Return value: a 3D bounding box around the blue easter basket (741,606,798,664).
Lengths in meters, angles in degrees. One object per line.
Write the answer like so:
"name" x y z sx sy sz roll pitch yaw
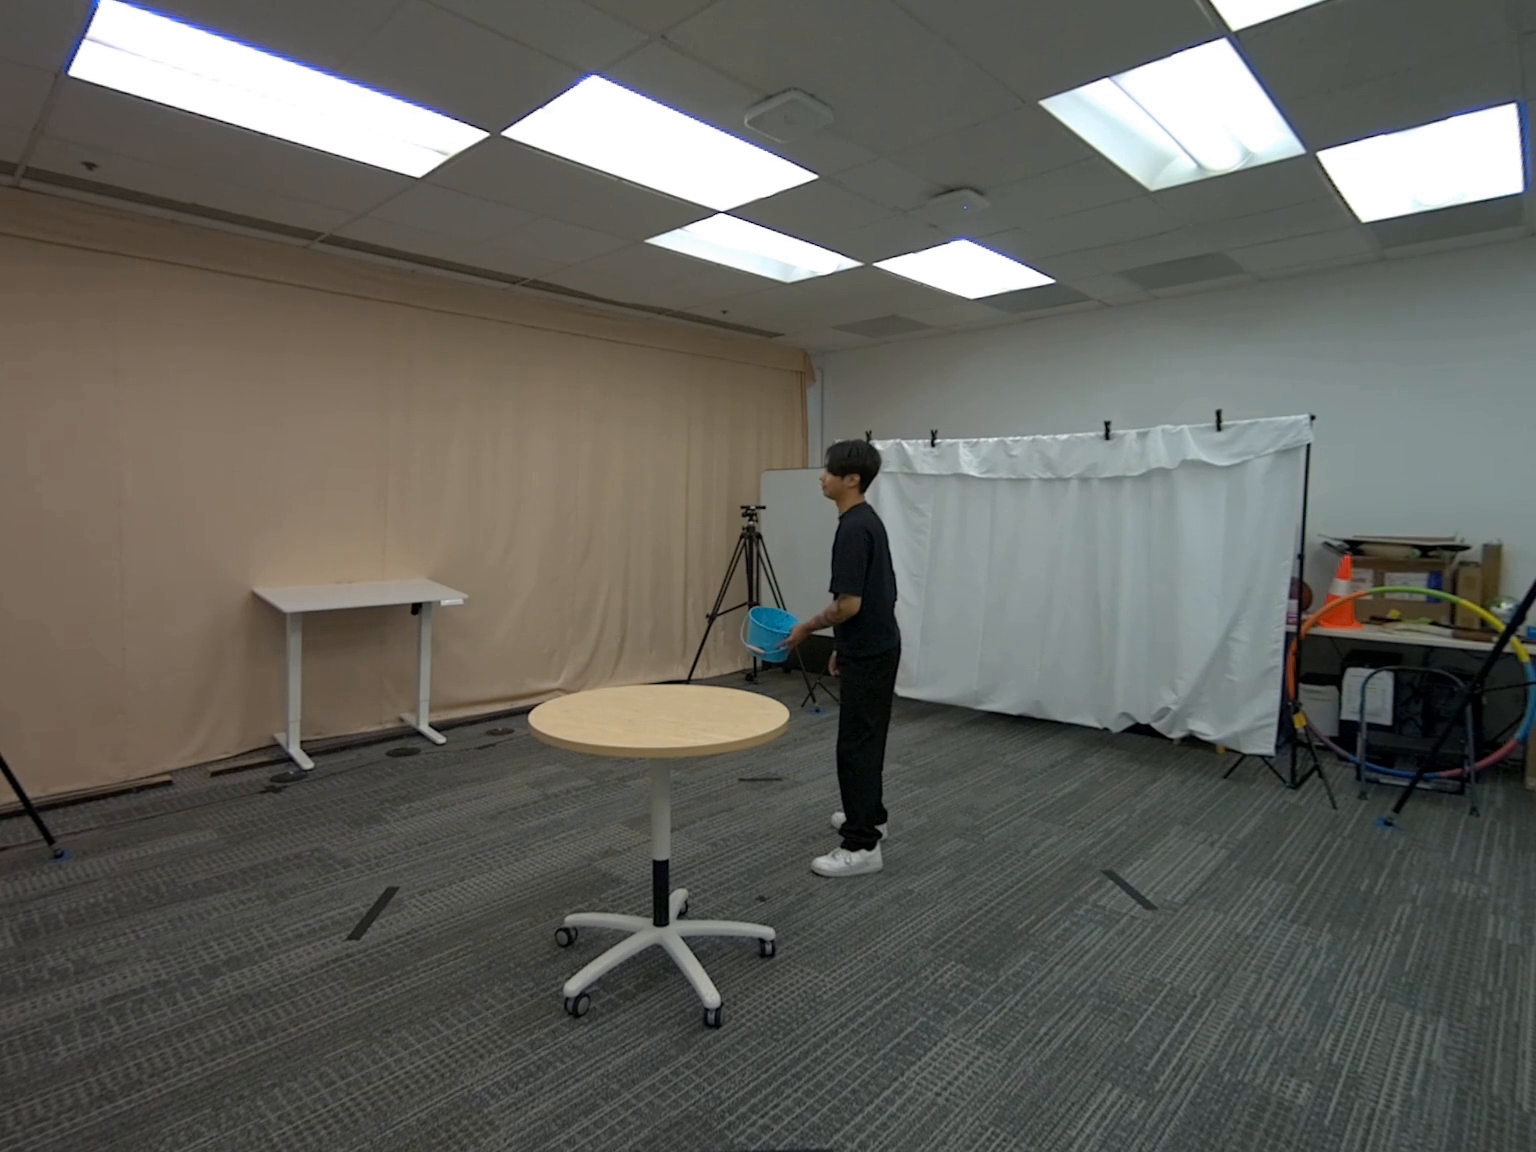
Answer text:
"blue easter basket" 0.020 0.254 3.511 0.242 0.155 0.246 15 18 -7
